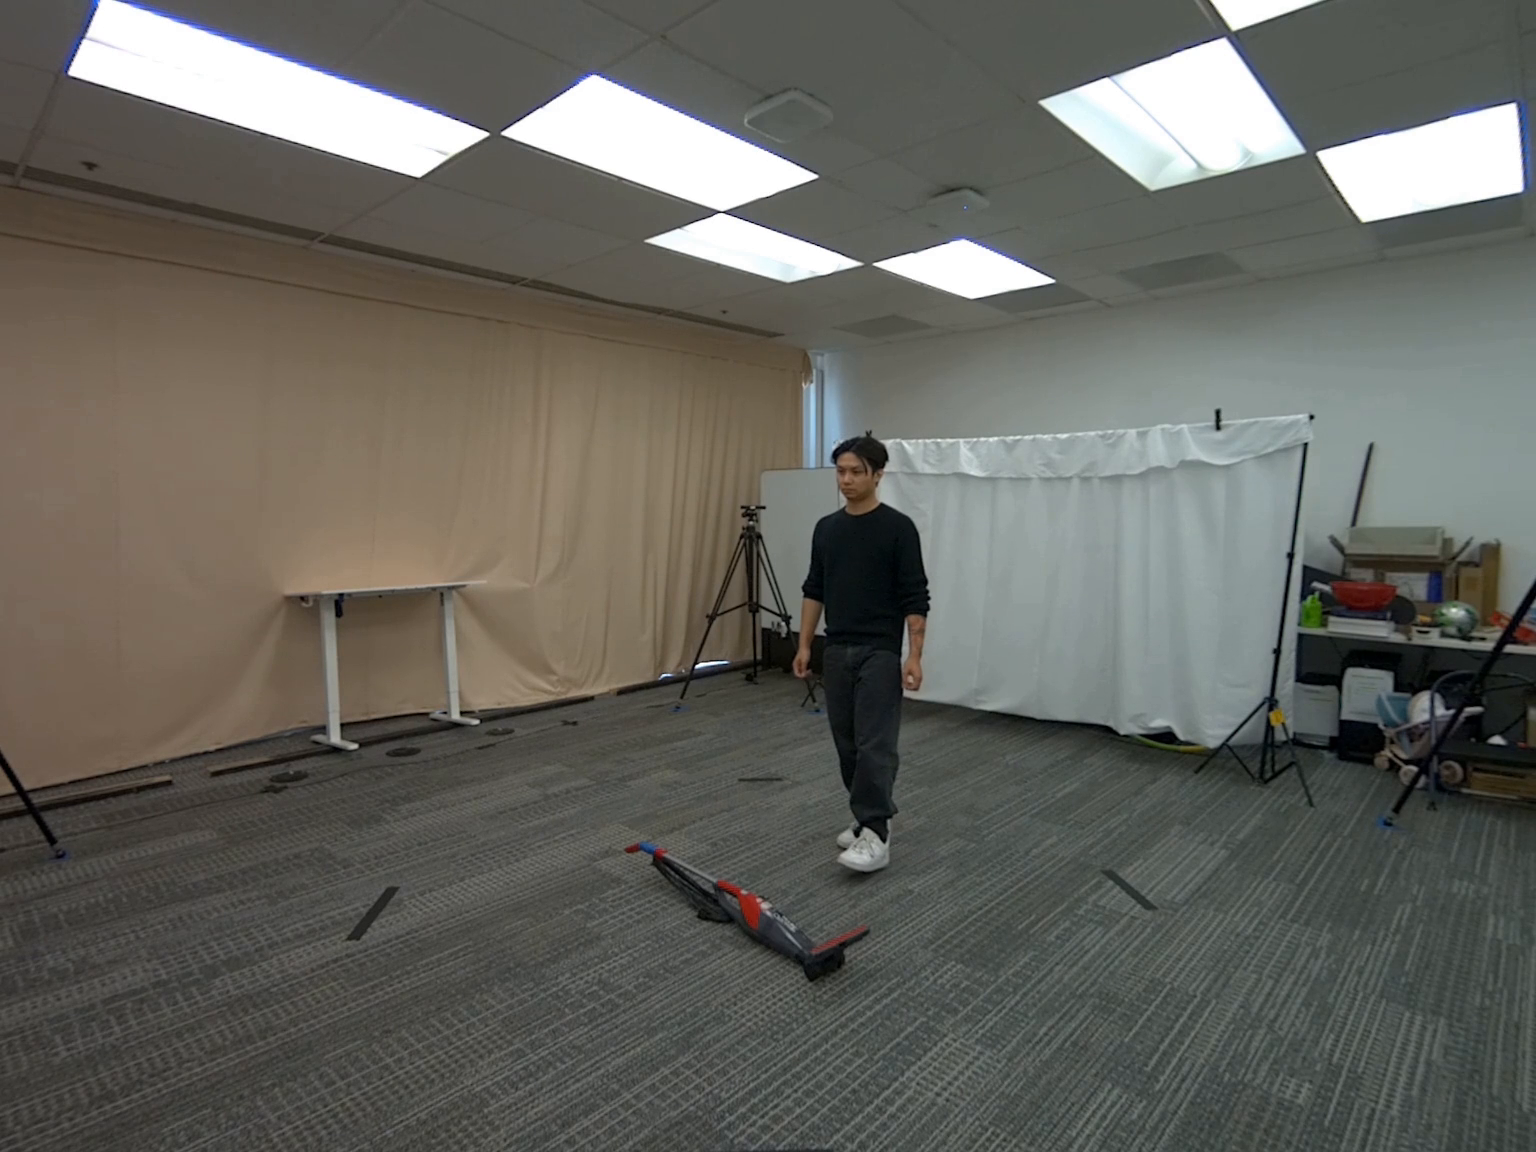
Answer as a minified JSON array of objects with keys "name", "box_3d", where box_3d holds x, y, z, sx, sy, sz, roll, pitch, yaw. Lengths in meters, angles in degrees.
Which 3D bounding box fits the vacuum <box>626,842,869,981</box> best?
[{"name":"vacuum","box_3d":[-0.170,1.095,2.869,0.245,0.144,1.084,-3,4,-43]}]
